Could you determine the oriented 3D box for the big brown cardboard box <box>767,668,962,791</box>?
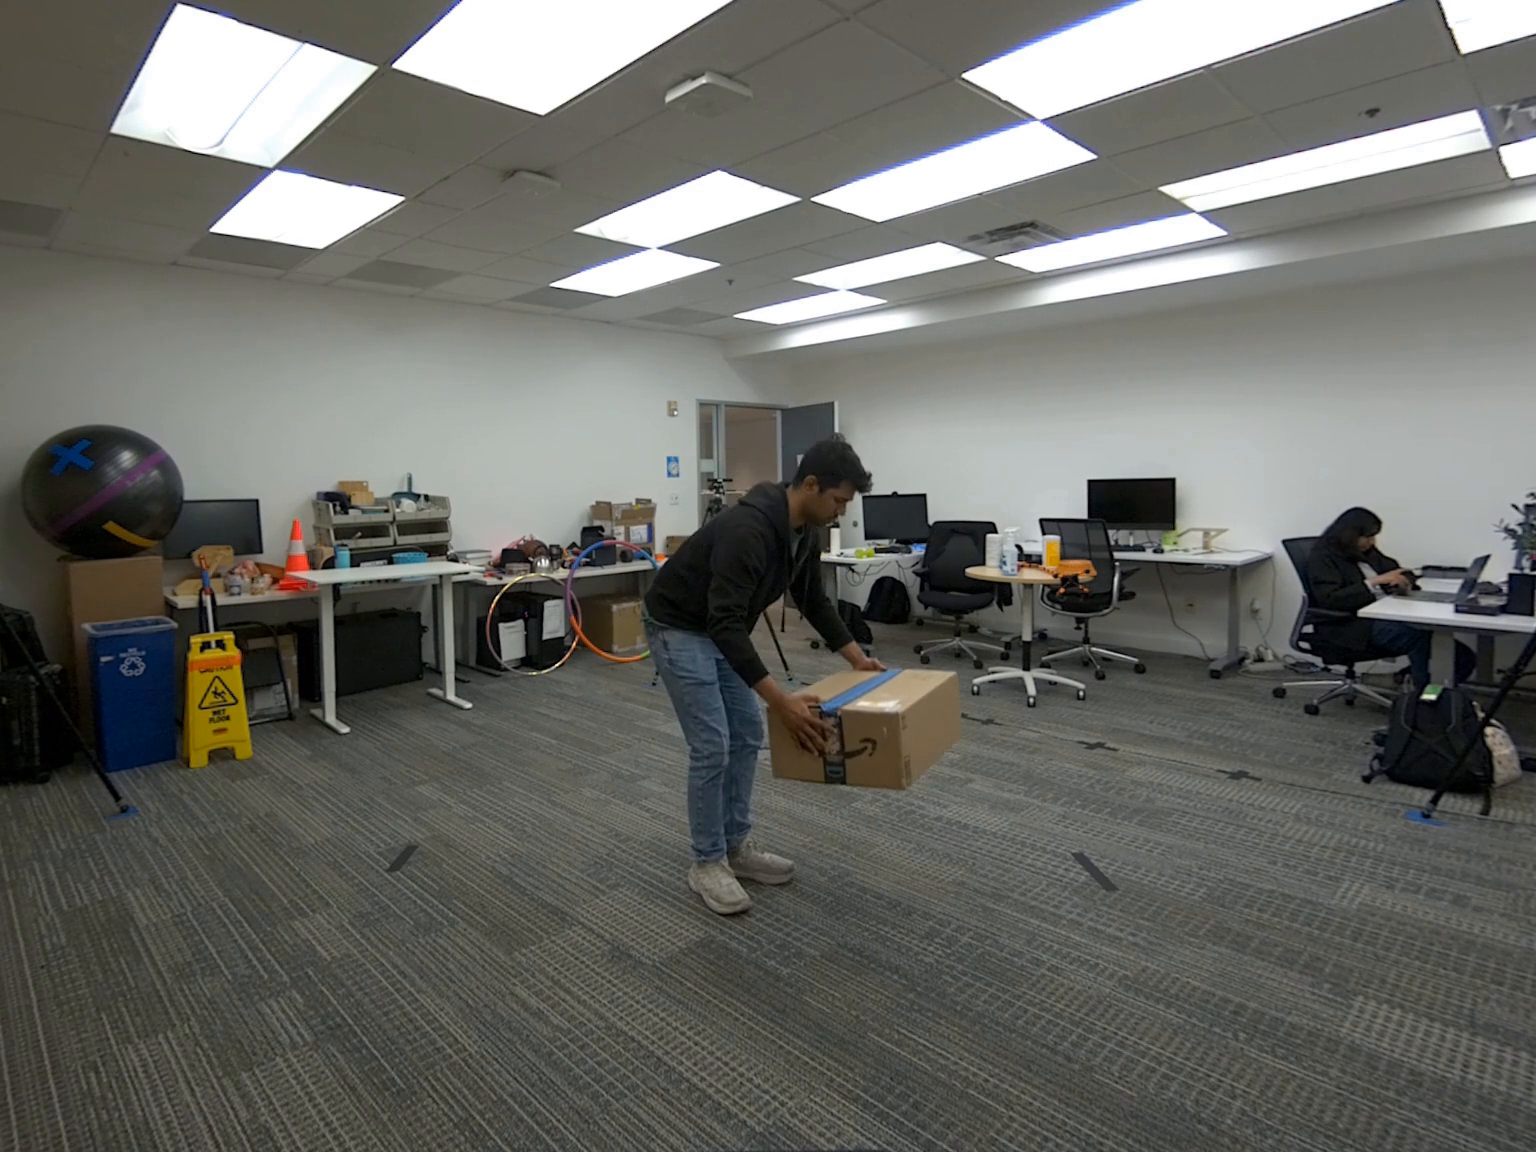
[{"bbox_3d":[0.311,0.456,2.662,0.428,0.233,0.575,-4,3,31],"label":"big brown cardboard box"}]
